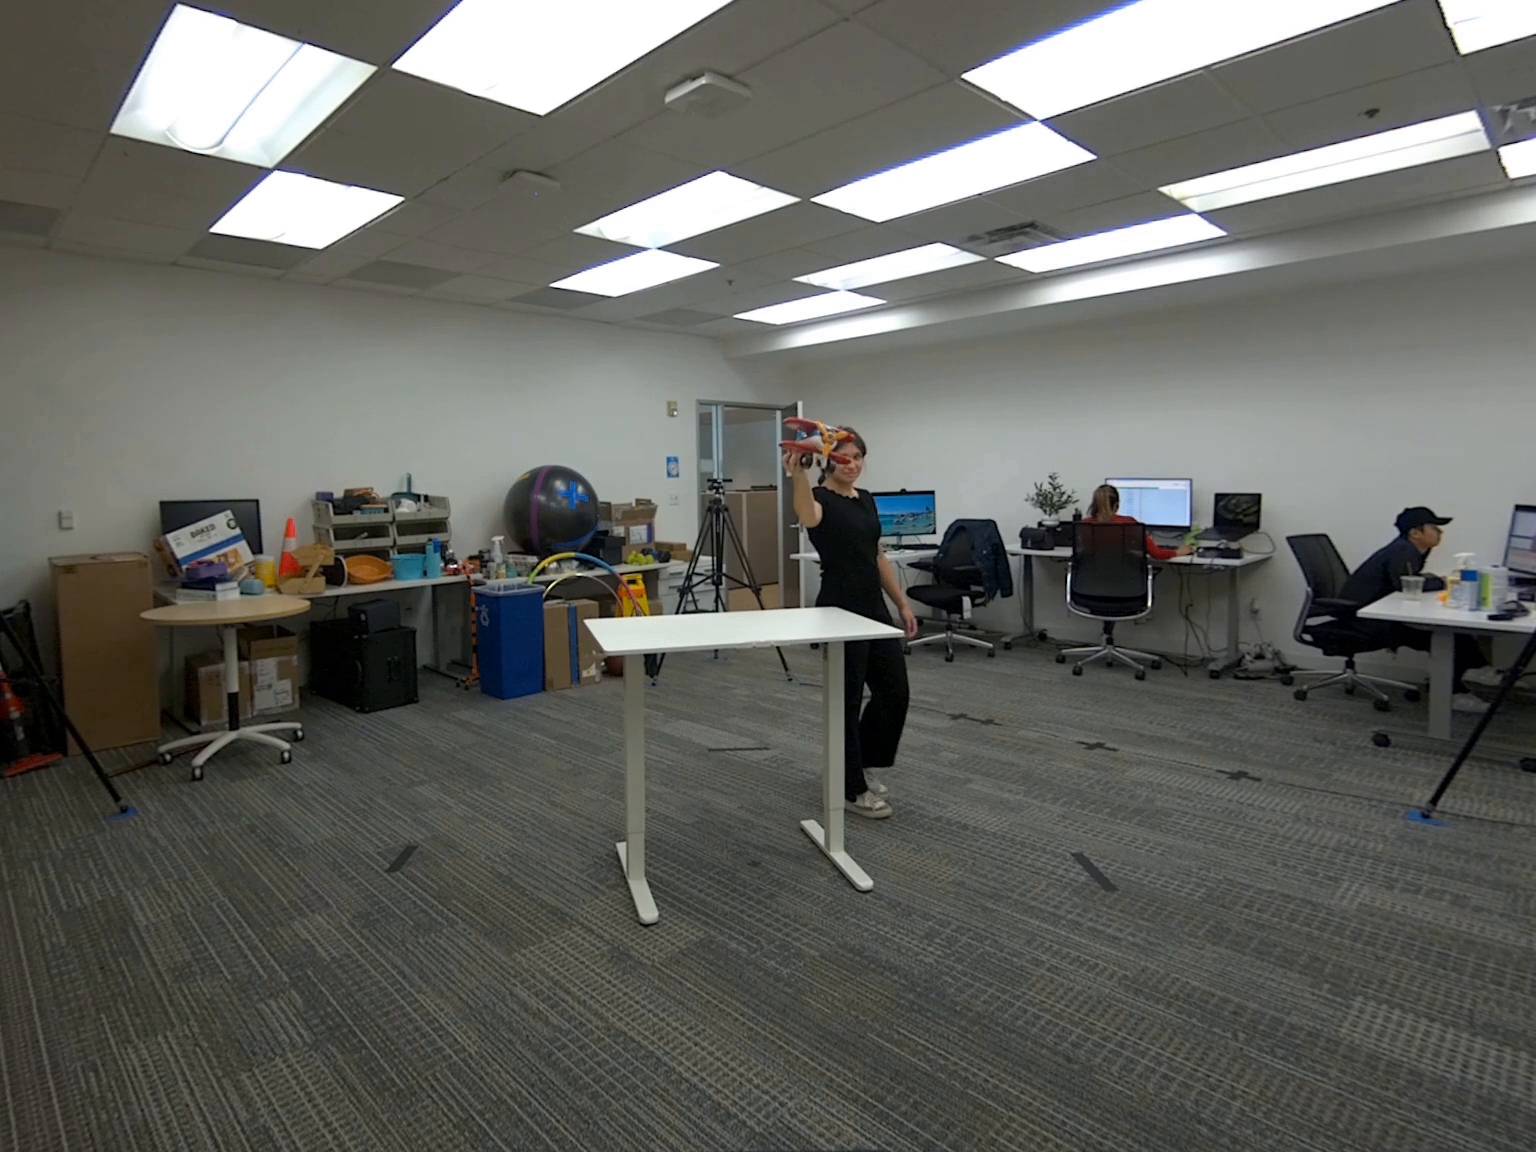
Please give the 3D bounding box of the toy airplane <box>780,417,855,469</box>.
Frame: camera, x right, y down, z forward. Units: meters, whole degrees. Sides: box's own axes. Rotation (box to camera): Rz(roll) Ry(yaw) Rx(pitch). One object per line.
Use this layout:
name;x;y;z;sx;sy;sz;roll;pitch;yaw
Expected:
toy airplane;0.128;-0.434;2.858;0.269;0.156;0.243;22;8;41
